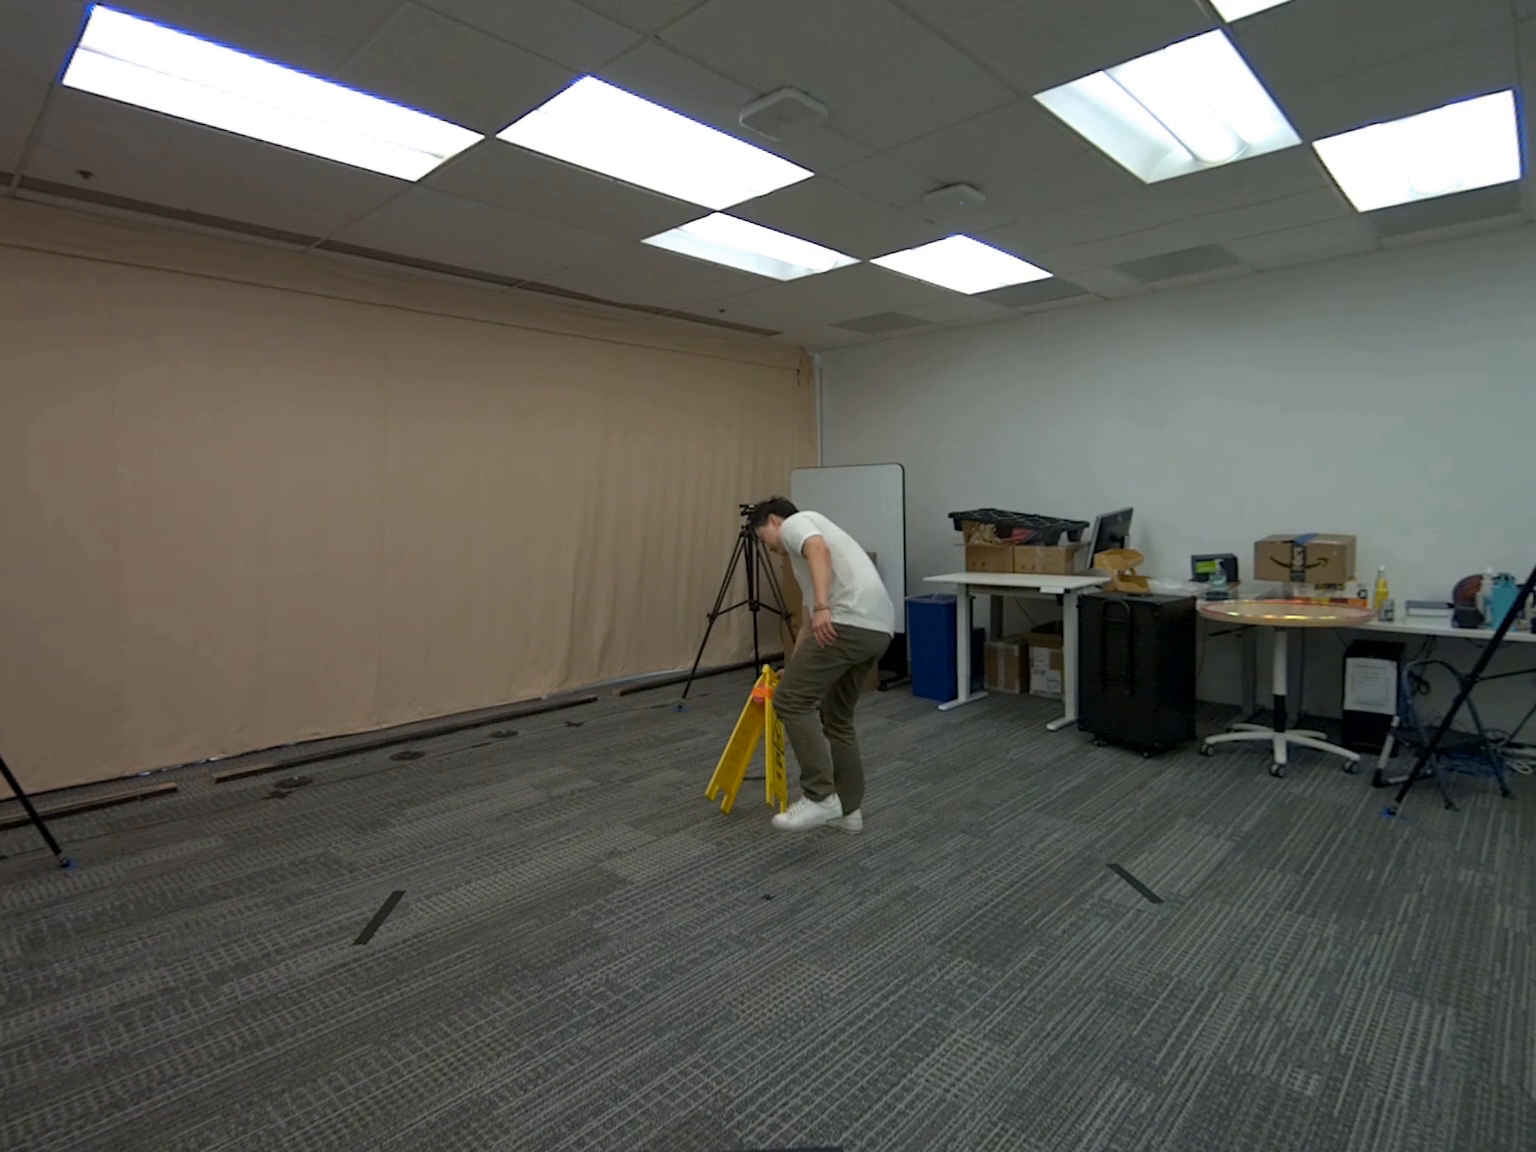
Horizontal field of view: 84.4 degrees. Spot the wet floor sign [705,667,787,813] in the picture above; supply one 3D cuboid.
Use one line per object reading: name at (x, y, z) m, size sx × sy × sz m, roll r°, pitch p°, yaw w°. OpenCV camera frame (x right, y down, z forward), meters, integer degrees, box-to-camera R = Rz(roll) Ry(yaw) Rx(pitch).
wet floor sign at (-0.040, 0.732, 3.808) m, size 0.296 × 0.652 × 0.273 m, roll -2°, pitch -31°, yaw 22°
